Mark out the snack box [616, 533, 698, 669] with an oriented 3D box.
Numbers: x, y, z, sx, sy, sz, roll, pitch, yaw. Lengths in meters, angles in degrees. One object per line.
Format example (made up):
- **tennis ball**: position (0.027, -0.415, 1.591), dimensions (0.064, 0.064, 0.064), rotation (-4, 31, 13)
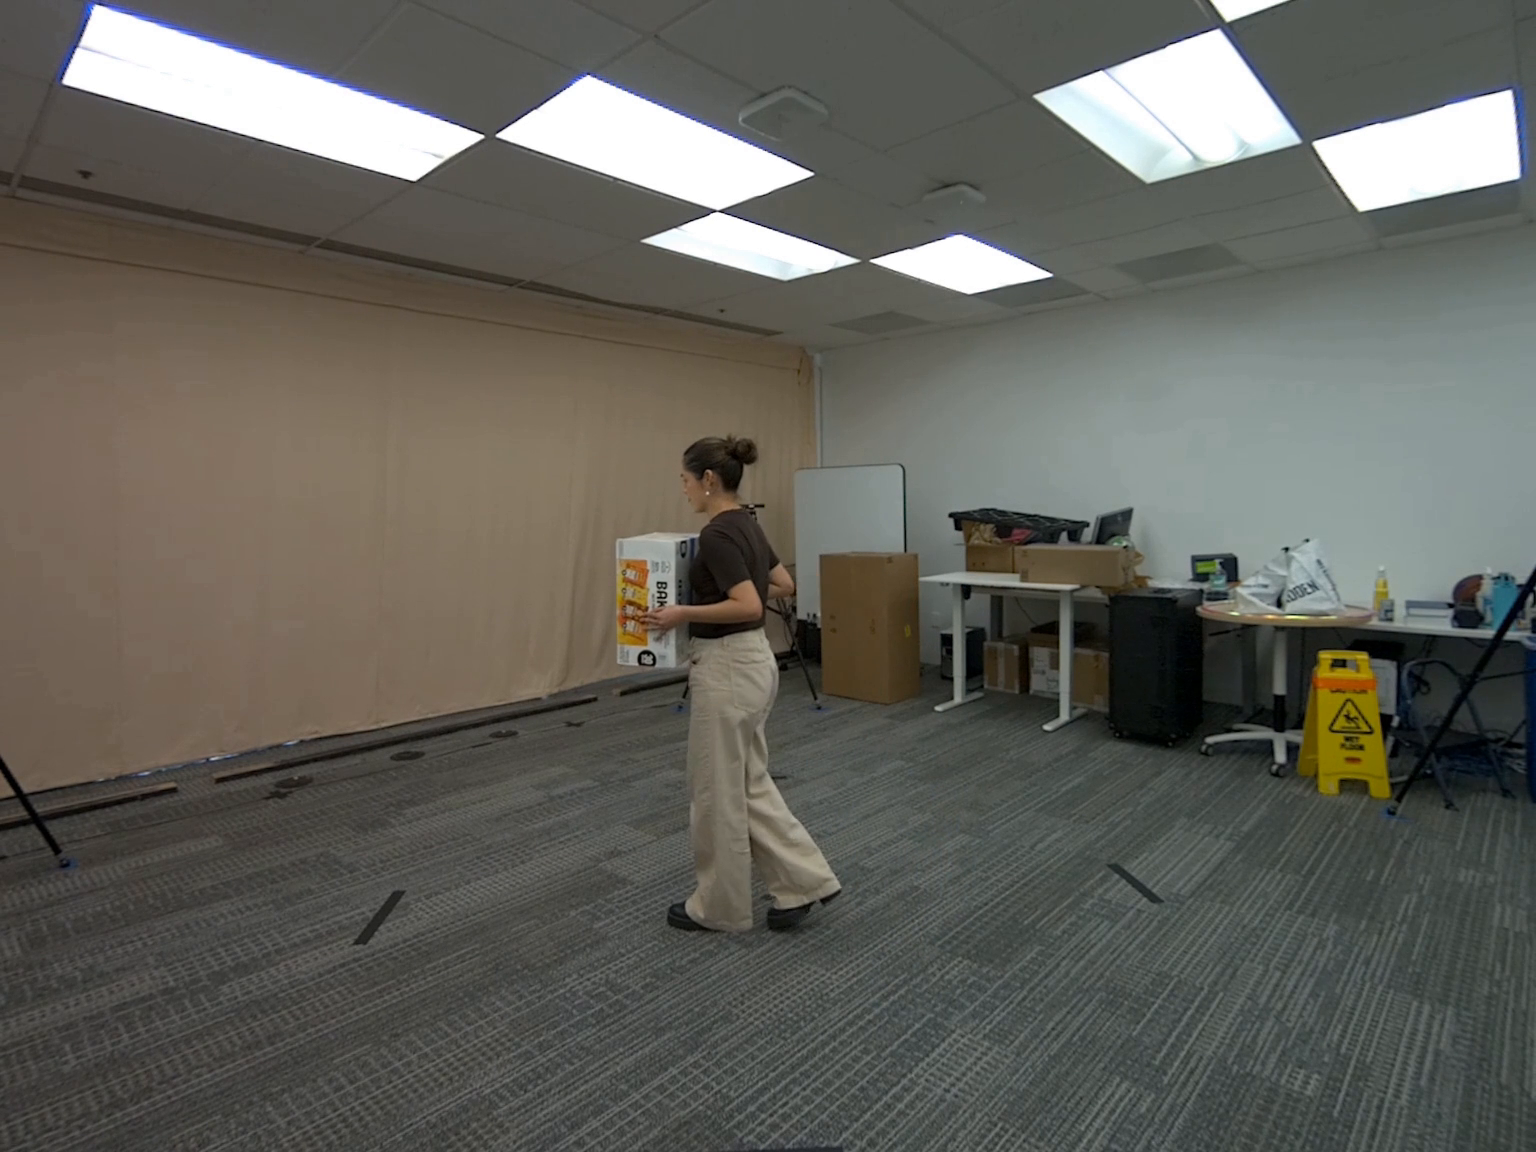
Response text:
- **snack box**: position (-0.344, 0.069, 2.823), dimensions (0.209, 0.404, 0.335), rotation (1, 5, 15)
